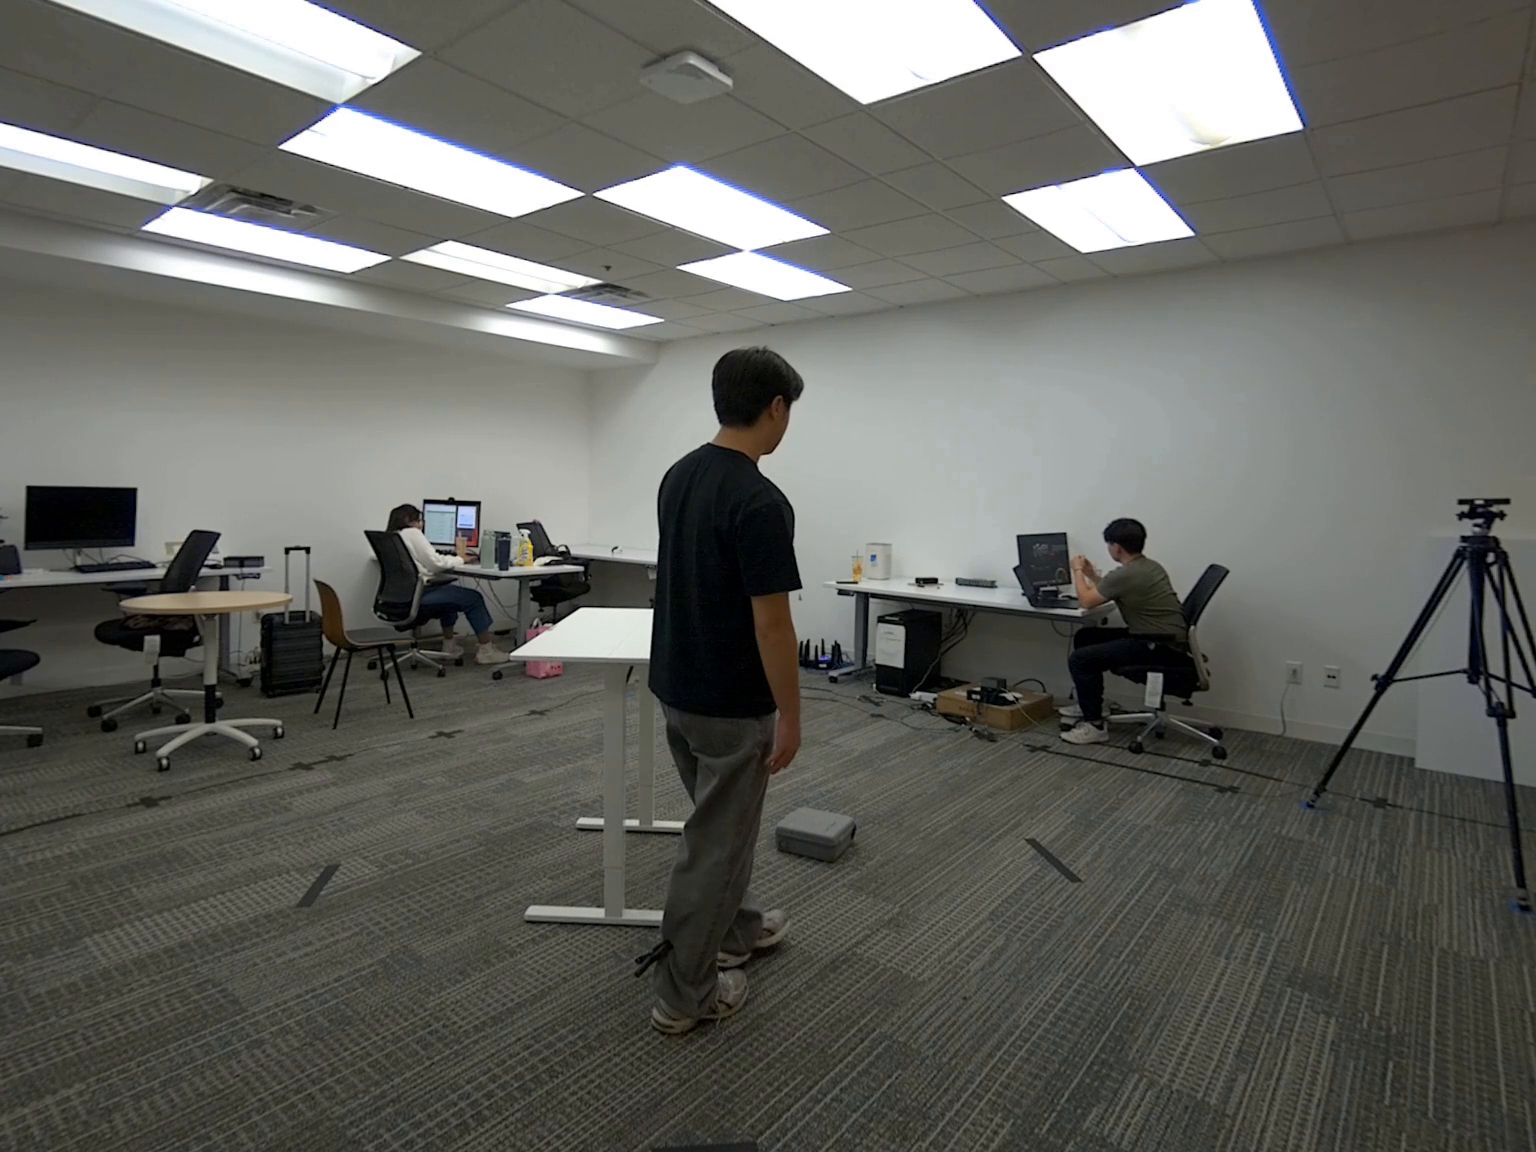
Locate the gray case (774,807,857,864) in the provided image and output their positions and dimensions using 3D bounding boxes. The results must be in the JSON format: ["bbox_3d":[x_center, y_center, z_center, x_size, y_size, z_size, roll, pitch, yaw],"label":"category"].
[{"bbox_3d":[0.170,1.005,3.339,0.295,0.103,0.257,3,5,28],"label":"gray case"}]
